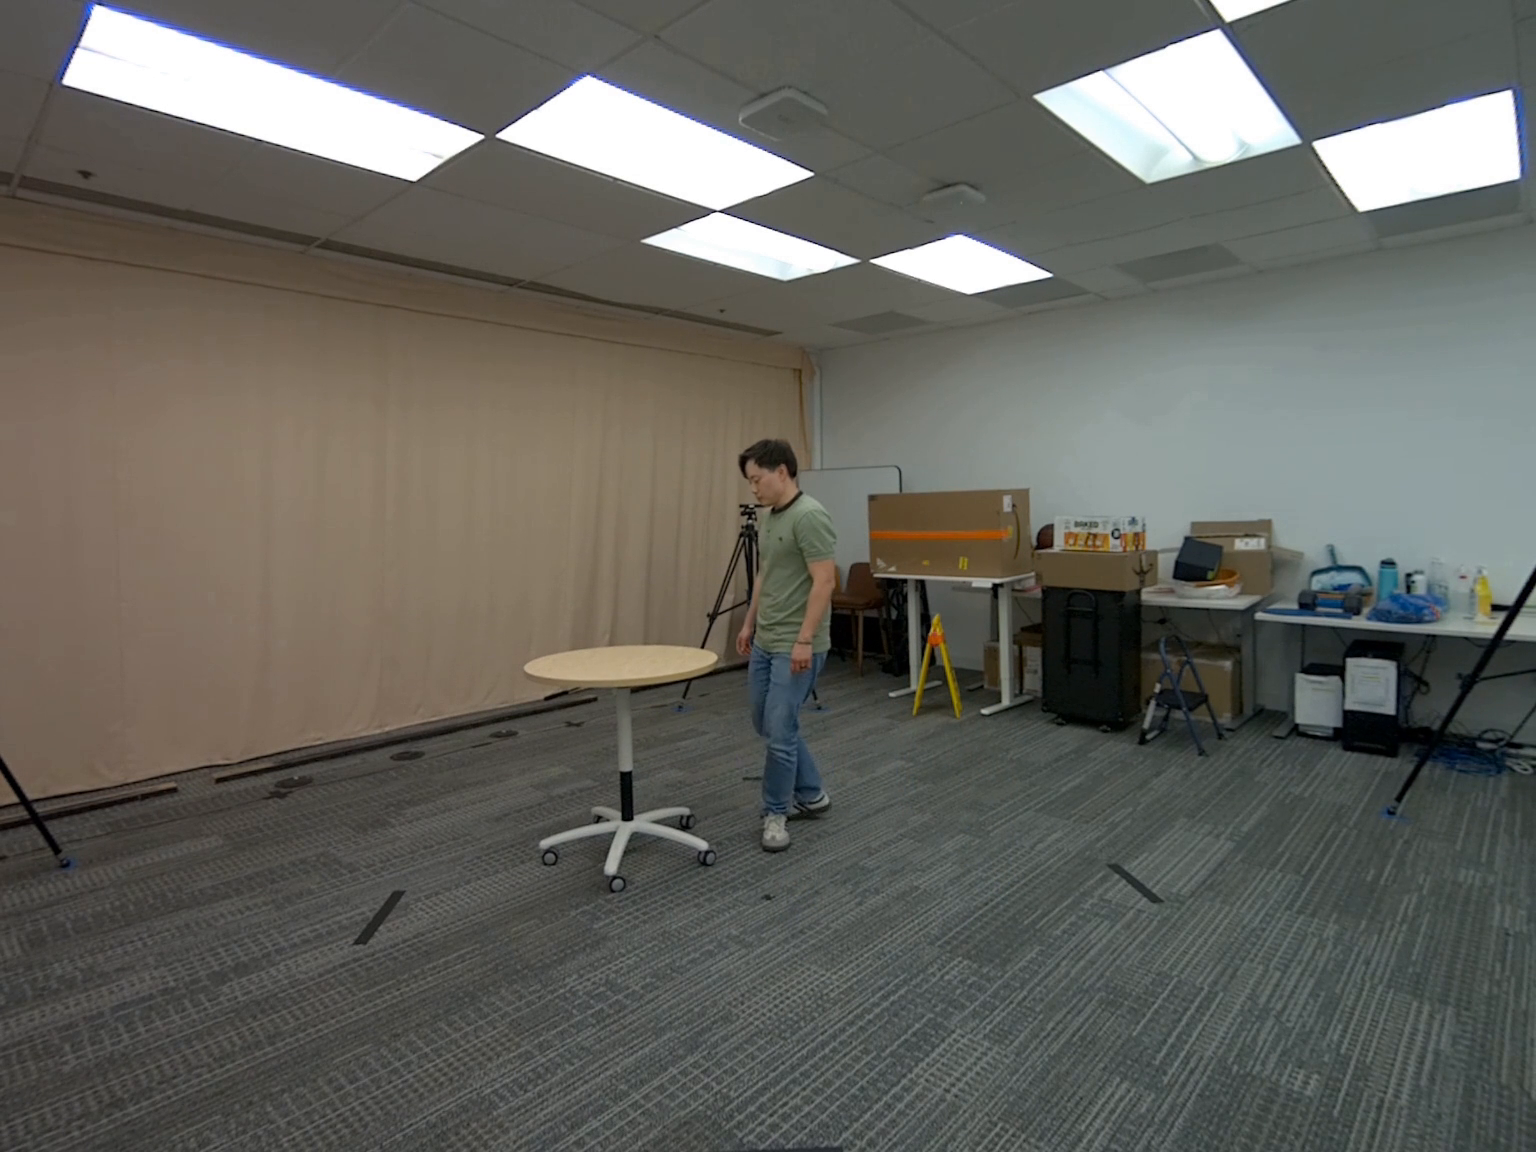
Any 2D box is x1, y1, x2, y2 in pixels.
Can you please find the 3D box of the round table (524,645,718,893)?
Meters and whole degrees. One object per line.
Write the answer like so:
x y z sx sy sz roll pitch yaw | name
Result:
-0.560 0.730 3.365 0.763 0.792 0.766 -2 4 -2 | round table
